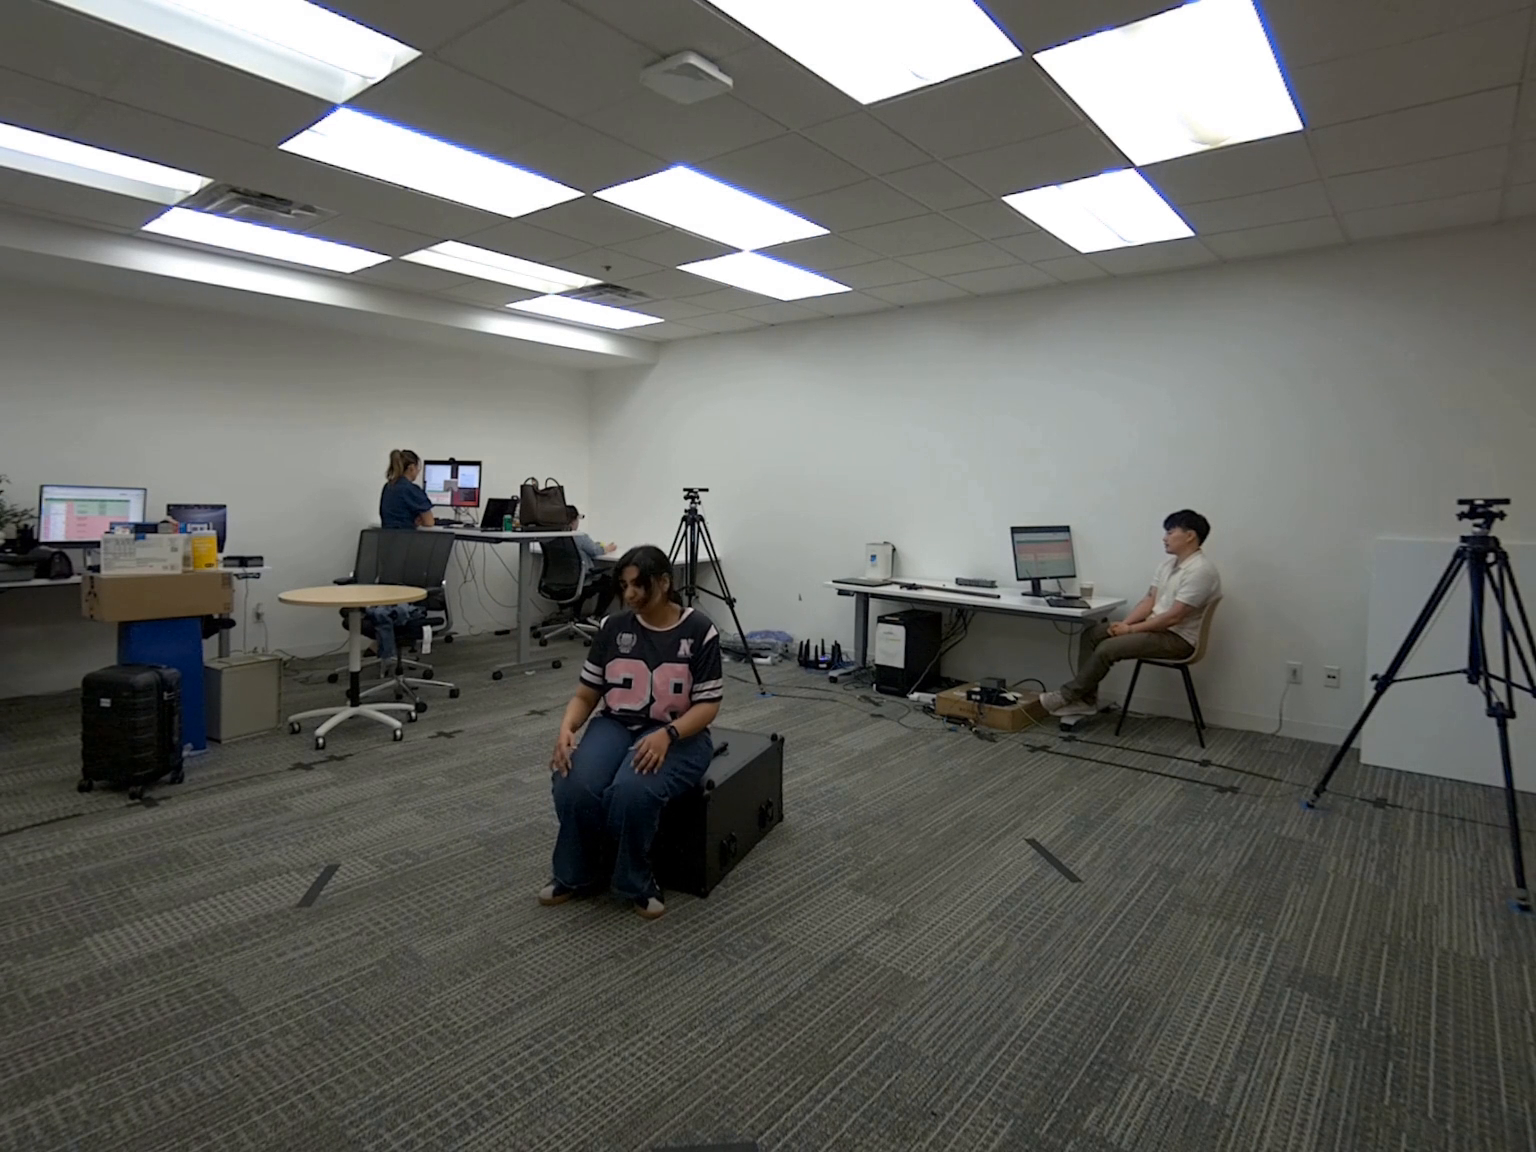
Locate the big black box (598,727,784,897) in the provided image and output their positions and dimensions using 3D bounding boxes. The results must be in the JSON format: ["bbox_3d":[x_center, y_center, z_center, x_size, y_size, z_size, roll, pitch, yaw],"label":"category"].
[{"bbox_3d":[-0.297,0.859,3.362,0.535,0.384,0.852,1,5,21],"label":"big black box"}]
